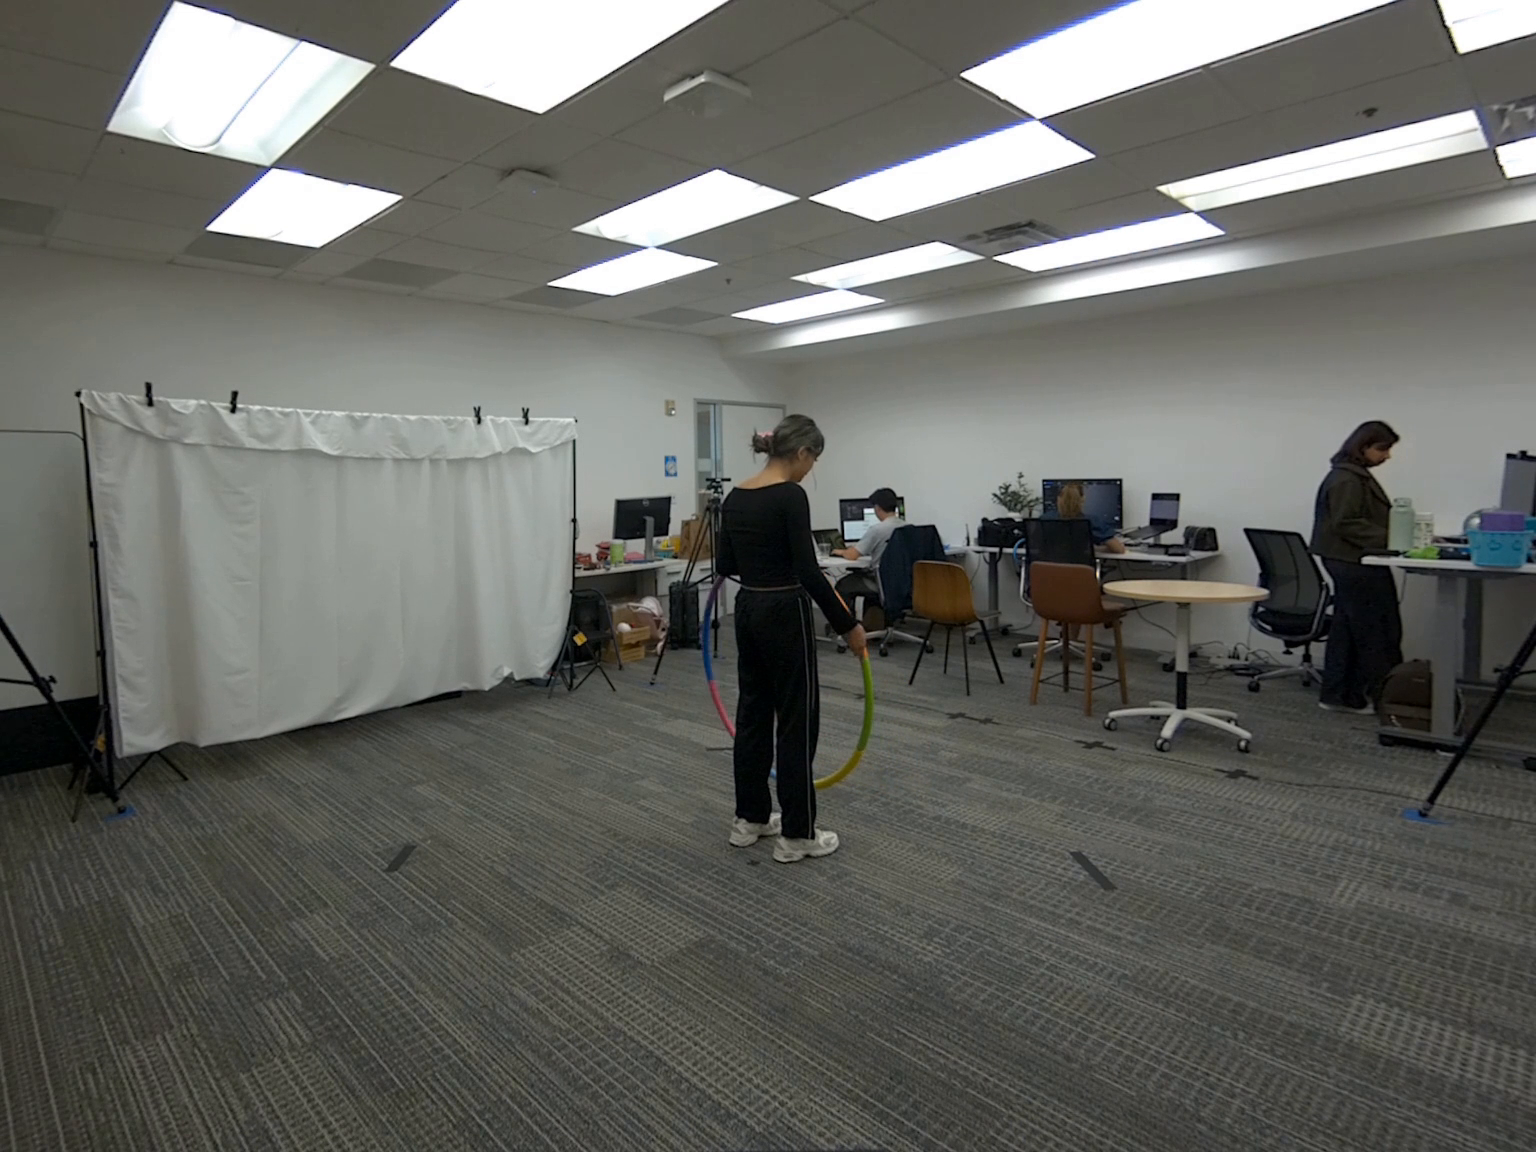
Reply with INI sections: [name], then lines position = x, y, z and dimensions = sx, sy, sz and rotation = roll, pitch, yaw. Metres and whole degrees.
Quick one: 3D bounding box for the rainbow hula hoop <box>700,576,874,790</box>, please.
[rainbow hula hoop]
position = 0.047, 0.384, 3.511
dimensions = 0.035, 0.971, 1.009
rotation = -12, 11, -41
